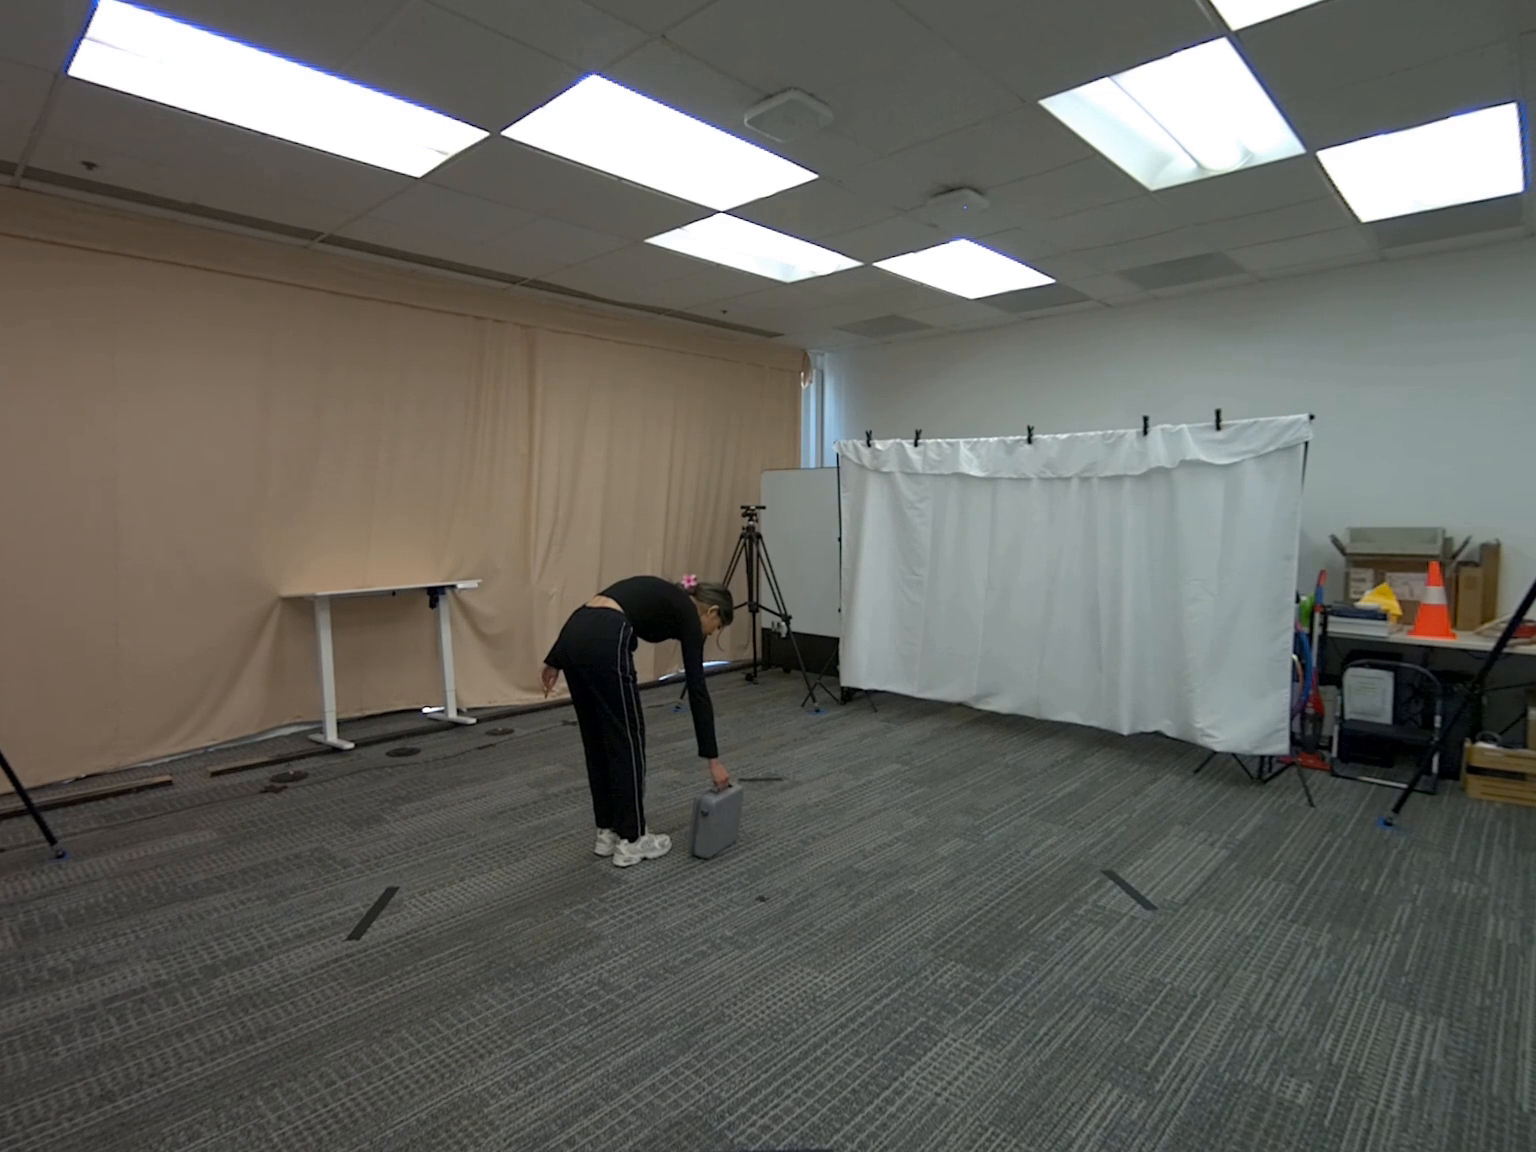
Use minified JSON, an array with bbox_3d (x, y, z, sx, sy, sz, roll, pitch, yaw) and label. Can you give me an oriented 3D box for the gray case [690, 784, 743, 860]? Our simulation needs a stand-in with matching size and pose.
[{"bbox_3d":[-0.207,0.979,3.405,0.107,0.259,0.250,11,9,28],"label":"gray case"}]
